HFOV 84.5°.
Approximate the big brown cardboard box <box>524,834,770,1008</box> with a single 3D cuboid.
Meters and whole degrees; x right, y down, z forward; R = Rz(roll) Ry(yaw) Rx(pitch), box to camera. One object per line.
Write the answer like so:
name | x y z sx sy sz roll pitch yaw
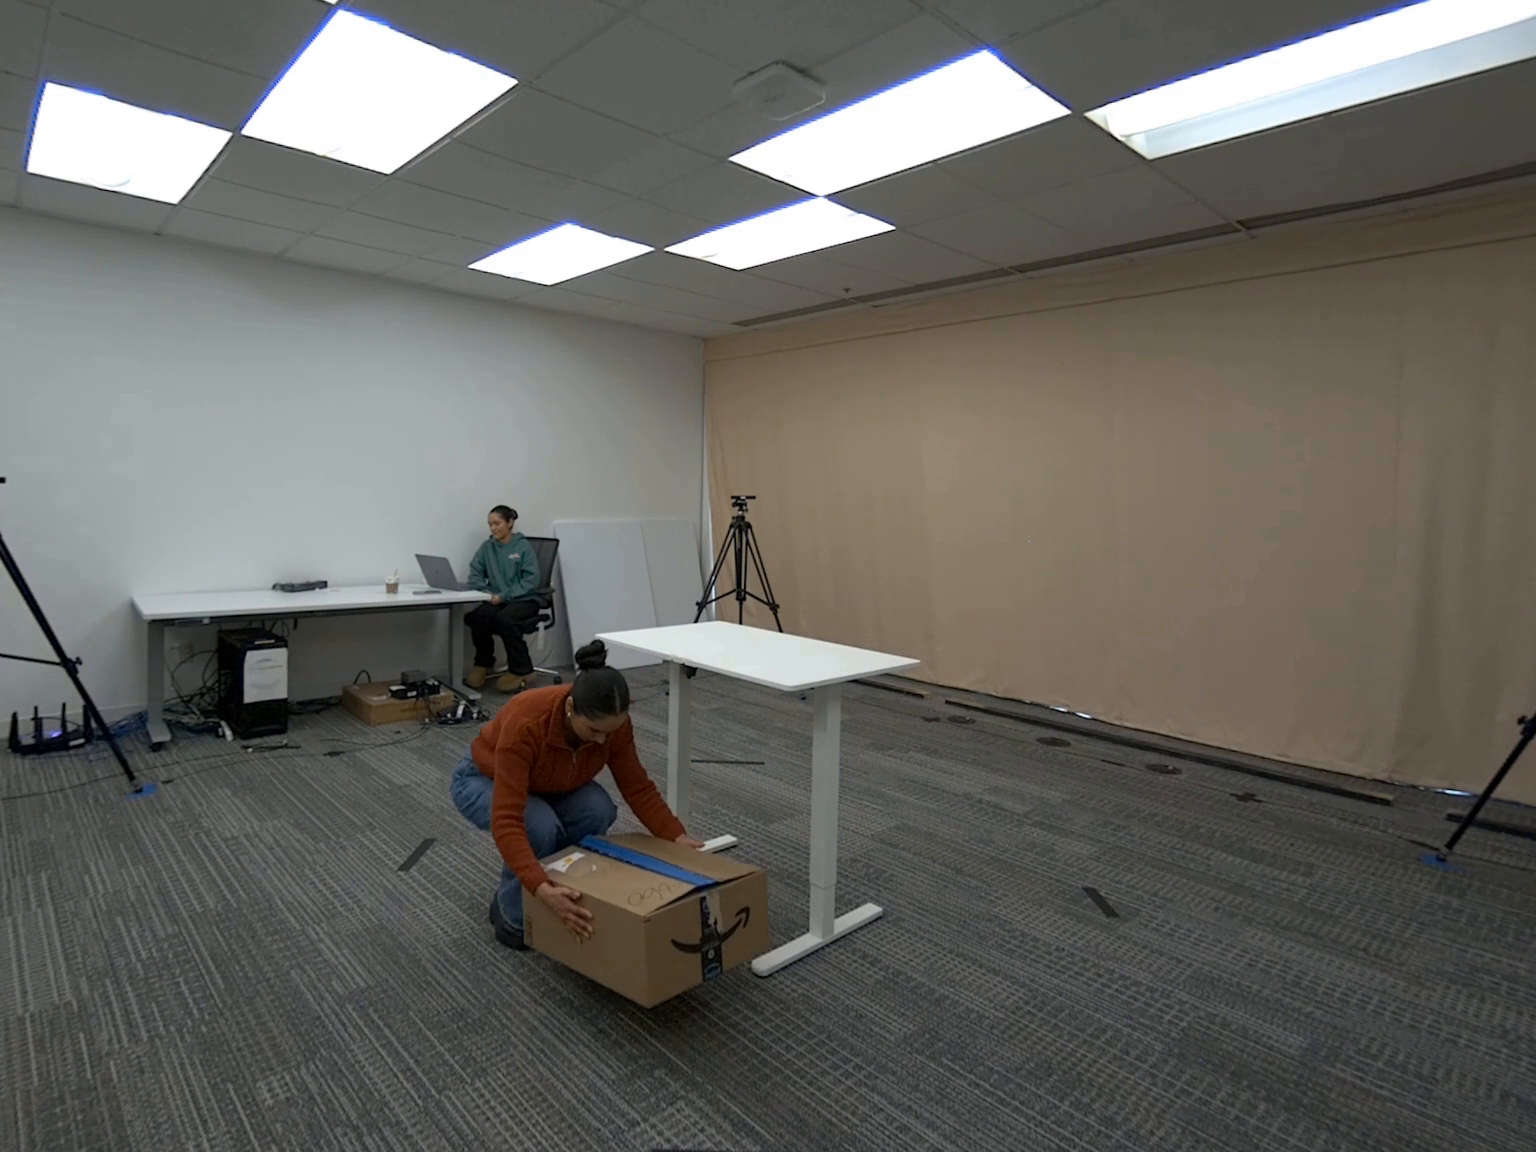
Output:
big brown cardboard box | -0.356 0.904 2.315 0.602 0.233 0.408 -1 1 44
